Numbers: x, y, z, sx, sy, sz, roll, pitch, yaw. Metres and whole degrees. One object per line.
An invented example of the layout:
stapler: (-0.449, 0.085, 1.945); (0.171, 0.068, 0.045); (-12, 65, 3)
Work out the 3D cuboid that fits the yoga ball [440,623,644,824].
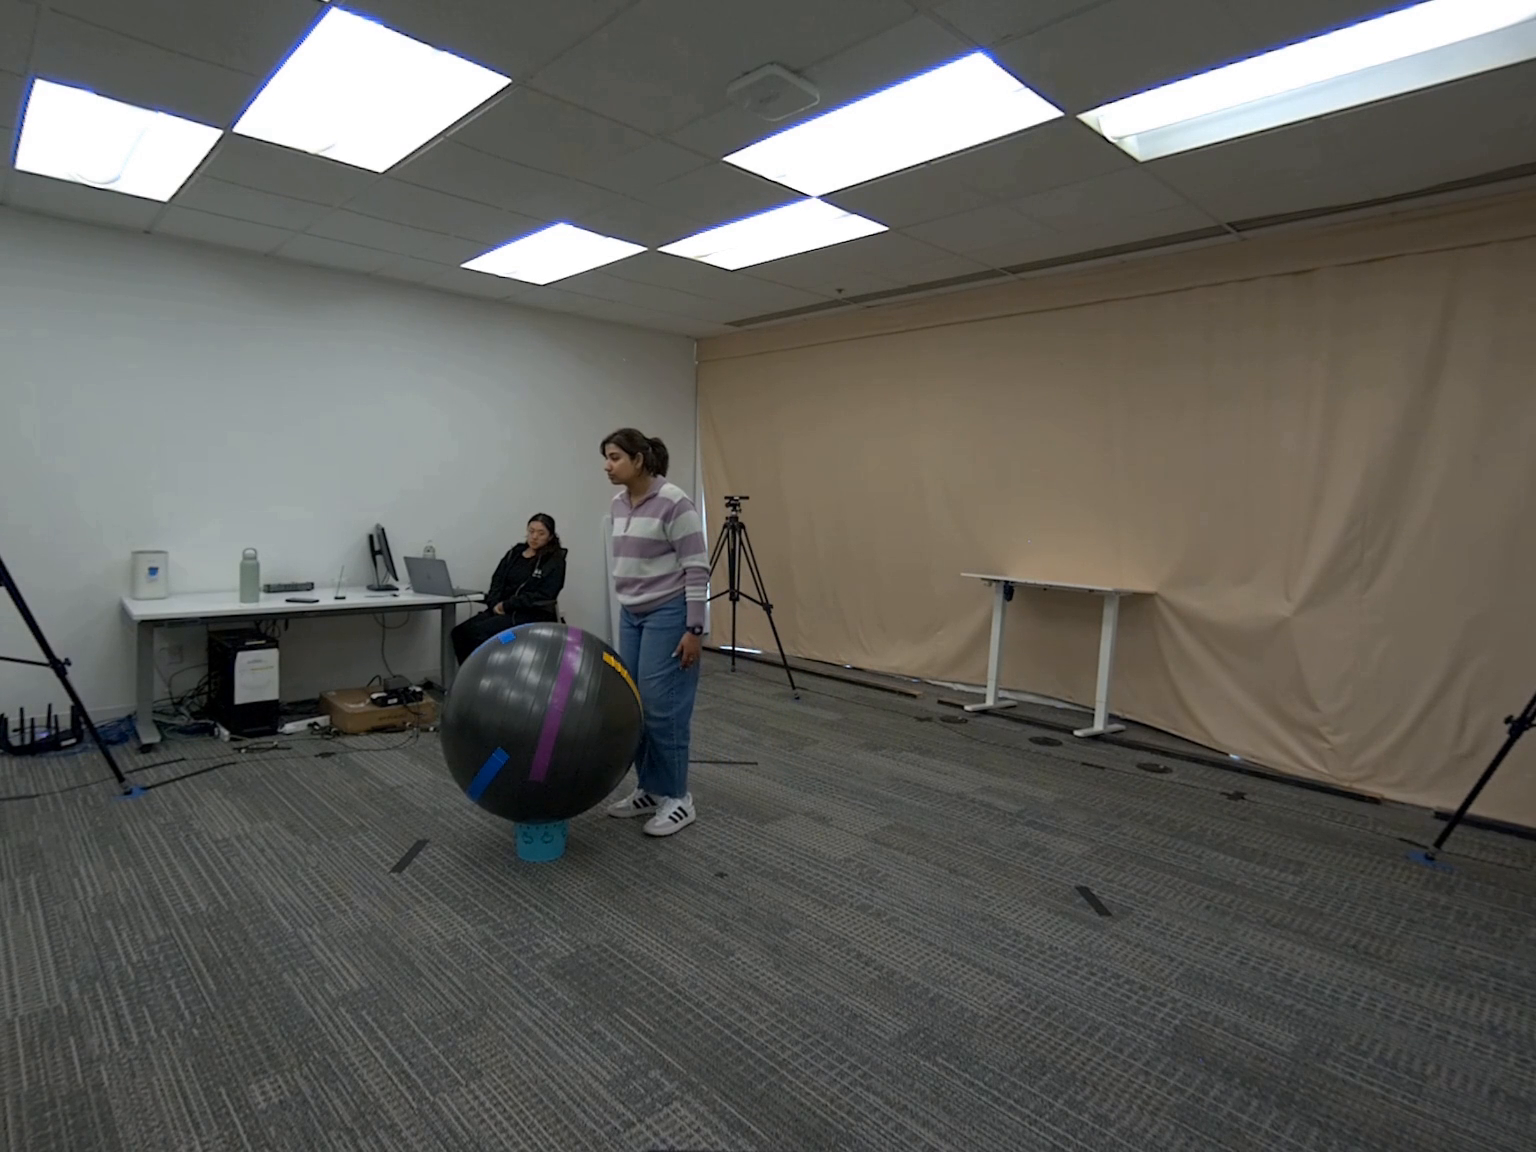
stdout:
yoga ball: (-0.873, 0.567, 3.240); (0.757, 0.756, 0.761); (1, 4, -1)
